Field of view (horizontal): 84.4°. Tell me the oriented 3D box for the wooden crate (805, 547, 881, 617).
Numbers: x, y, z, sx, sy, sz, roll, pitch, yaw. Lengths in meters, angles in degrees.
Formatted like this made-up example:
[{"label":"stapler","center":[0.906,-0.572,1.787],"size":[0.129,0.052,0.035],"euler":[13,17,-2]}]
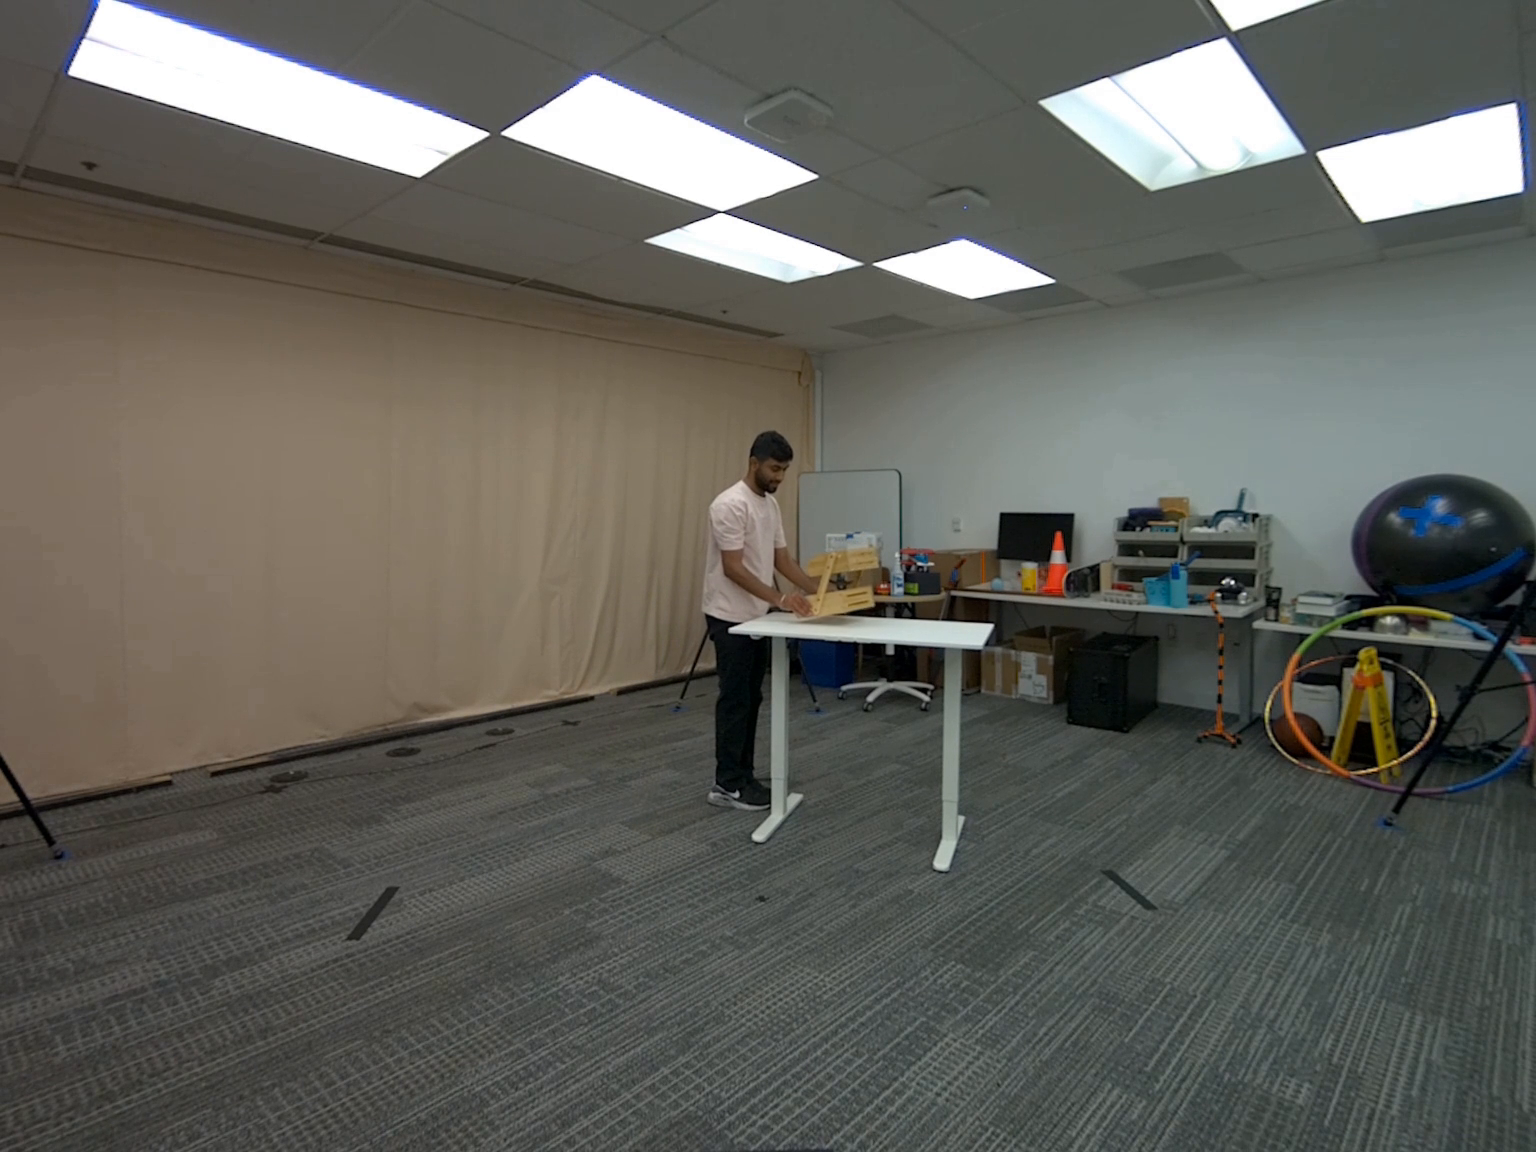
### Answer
[{"label":"wooden crate","center":[0.293,0.025,3.698],"size":[0.310,0.274,0.315],"euler":[-9,-2,34]}]
